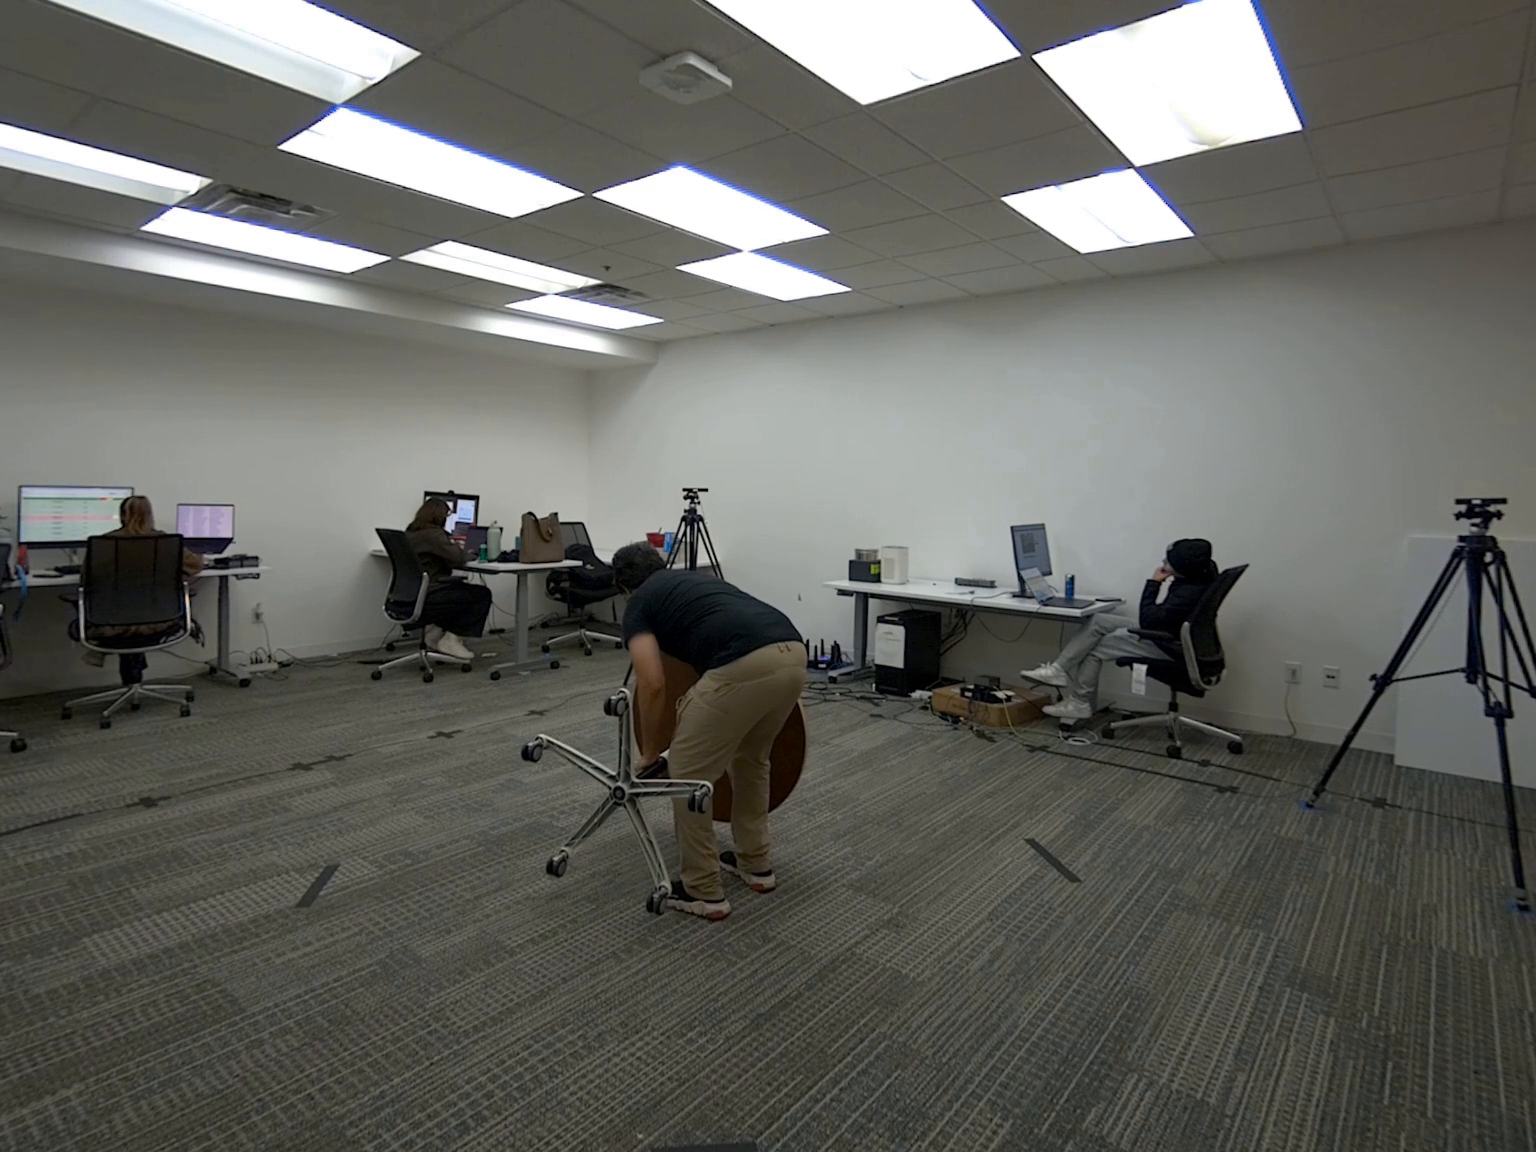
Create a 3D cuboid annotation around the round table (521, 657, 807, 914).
[{"bbox_3d":[-0.370,0.643,3.014,0.806,0.780,0.771,3,8,25],"label":"round table"}]
